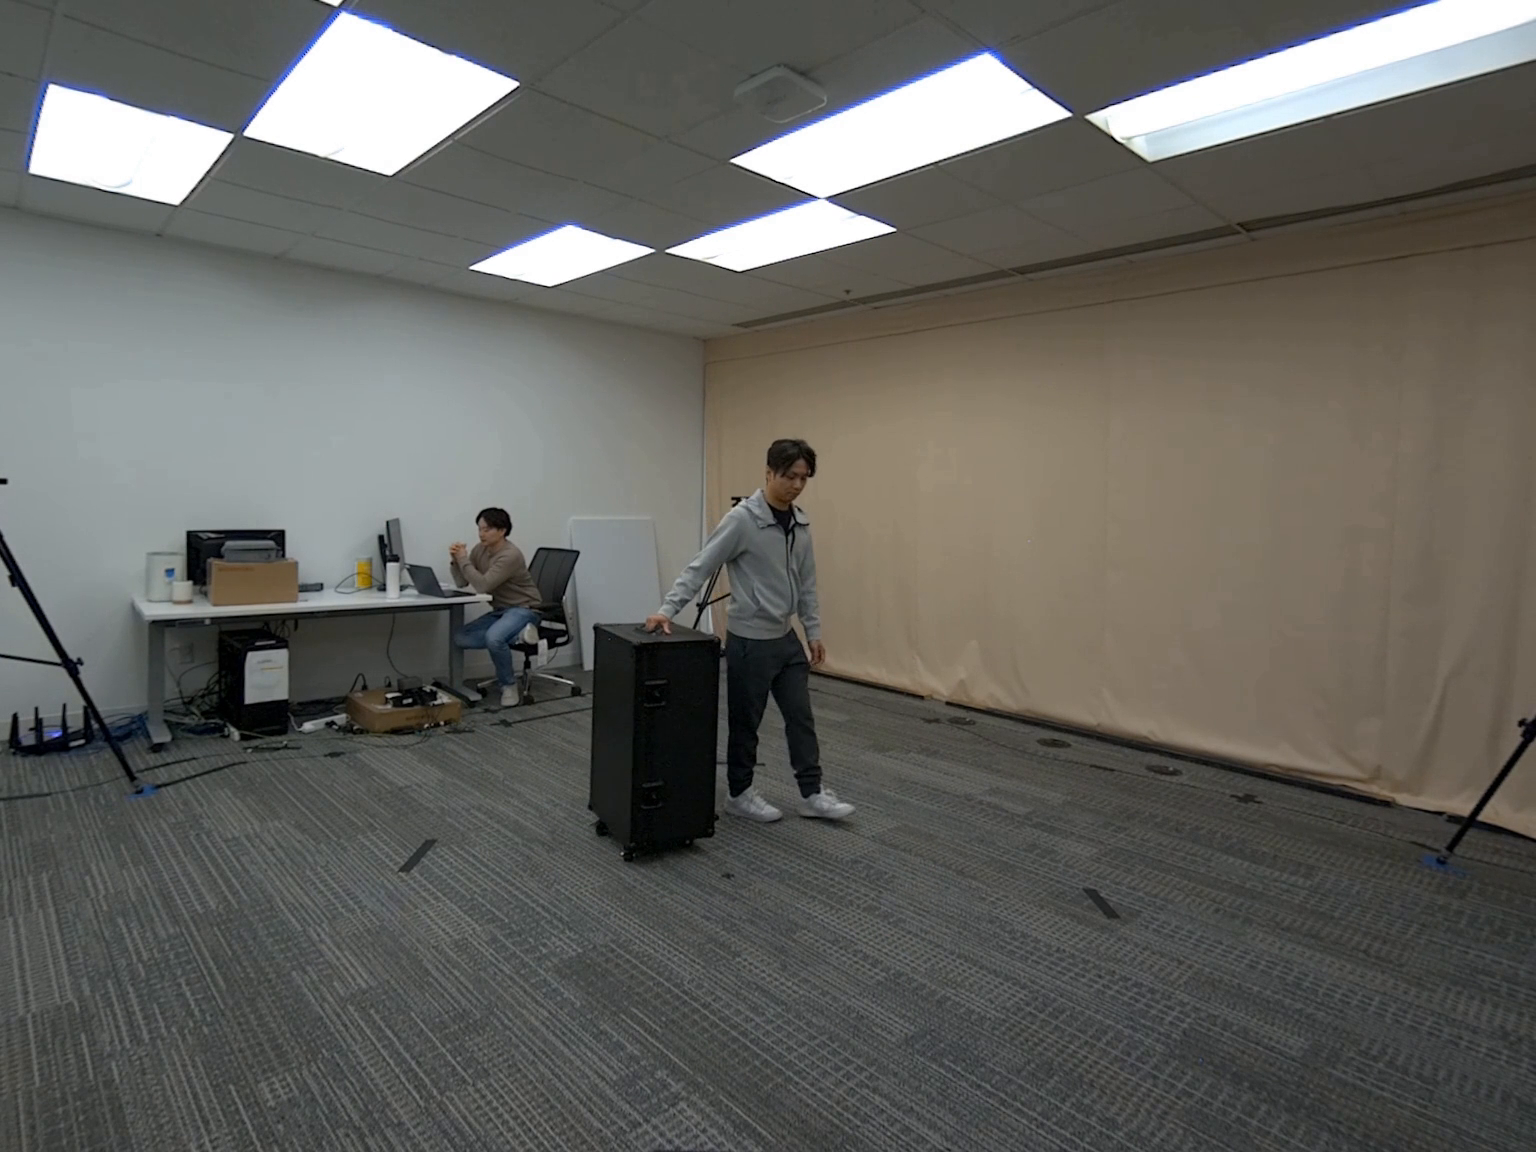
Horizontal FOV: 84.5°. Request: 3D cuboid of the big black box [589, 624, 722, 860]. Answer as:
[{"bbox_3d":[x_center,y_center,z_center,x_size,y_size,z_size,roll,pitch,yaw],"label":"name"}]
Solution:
[{"bbox_3d":[-0.471,0.648,3.412,0.388,0.860,0.533,2,3,-29],"label":"big black box"}]
